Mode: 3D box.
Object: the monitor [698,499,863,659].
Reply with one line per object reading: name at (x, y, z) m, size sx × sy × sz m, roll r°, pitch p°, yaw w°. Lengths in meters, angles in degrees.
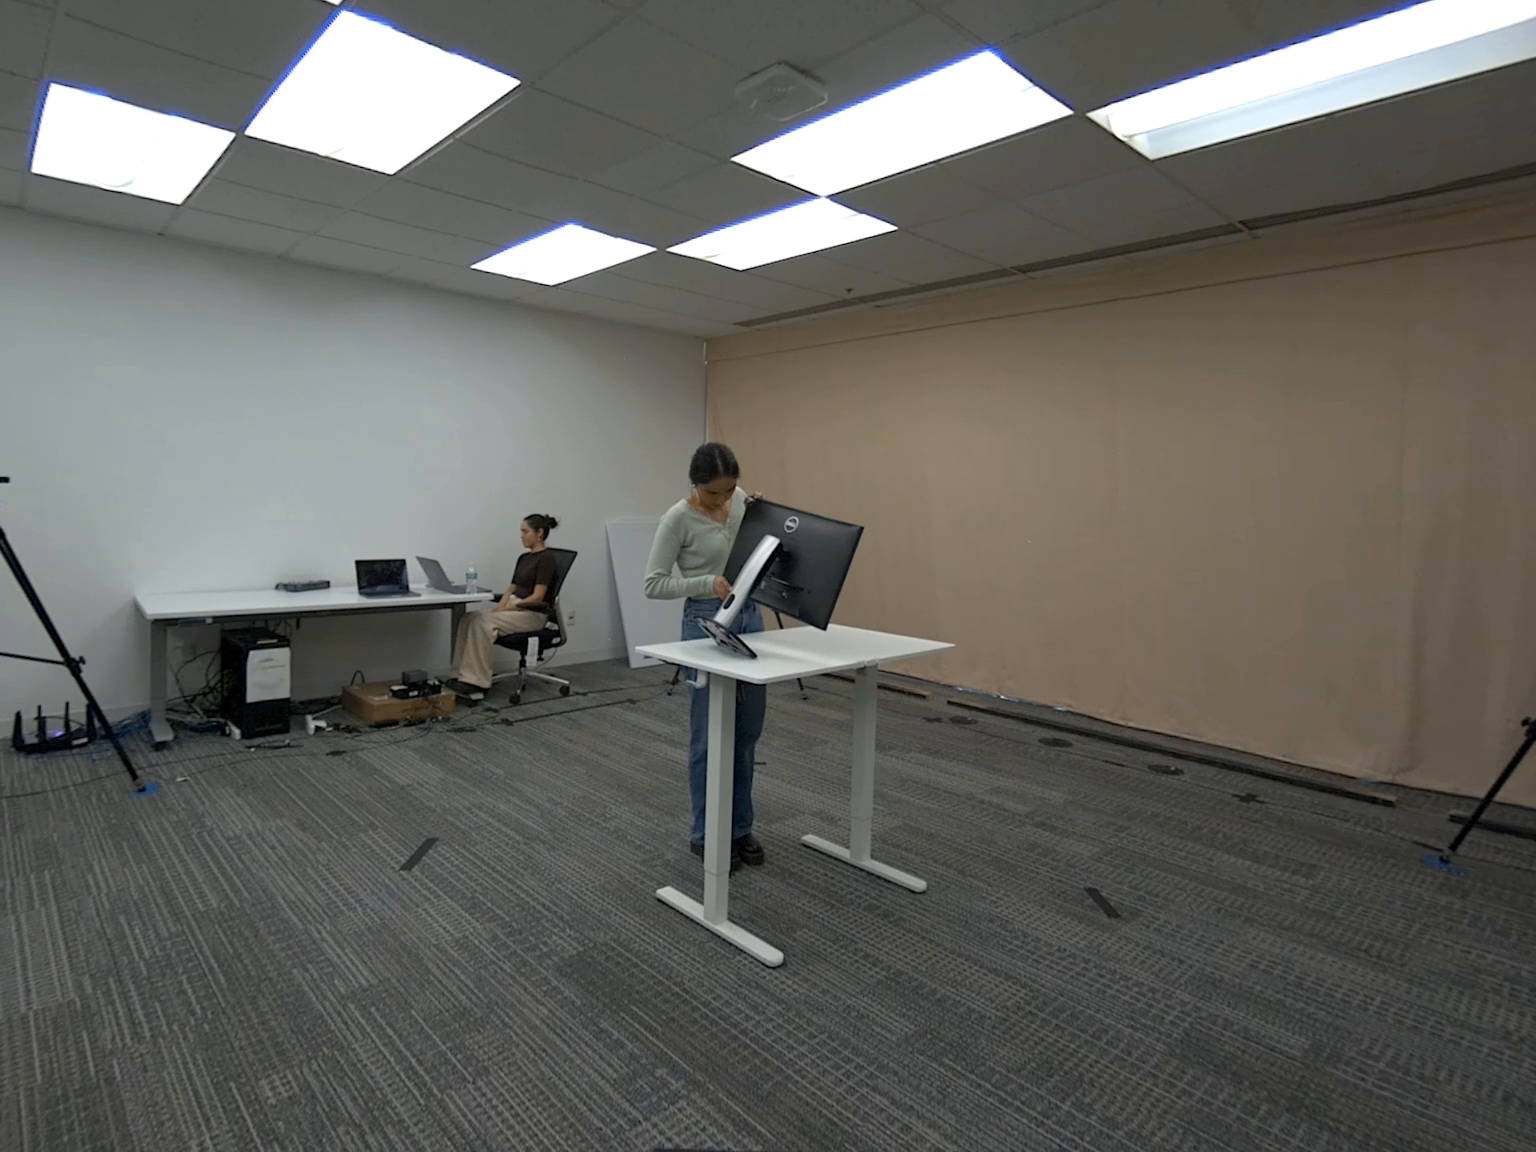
monitor at (-0.009, 0.005, 2.800) m, size 0.555 × 0.524 × 0.181 m, roll 20°, pitch -16°, yaw 44°
